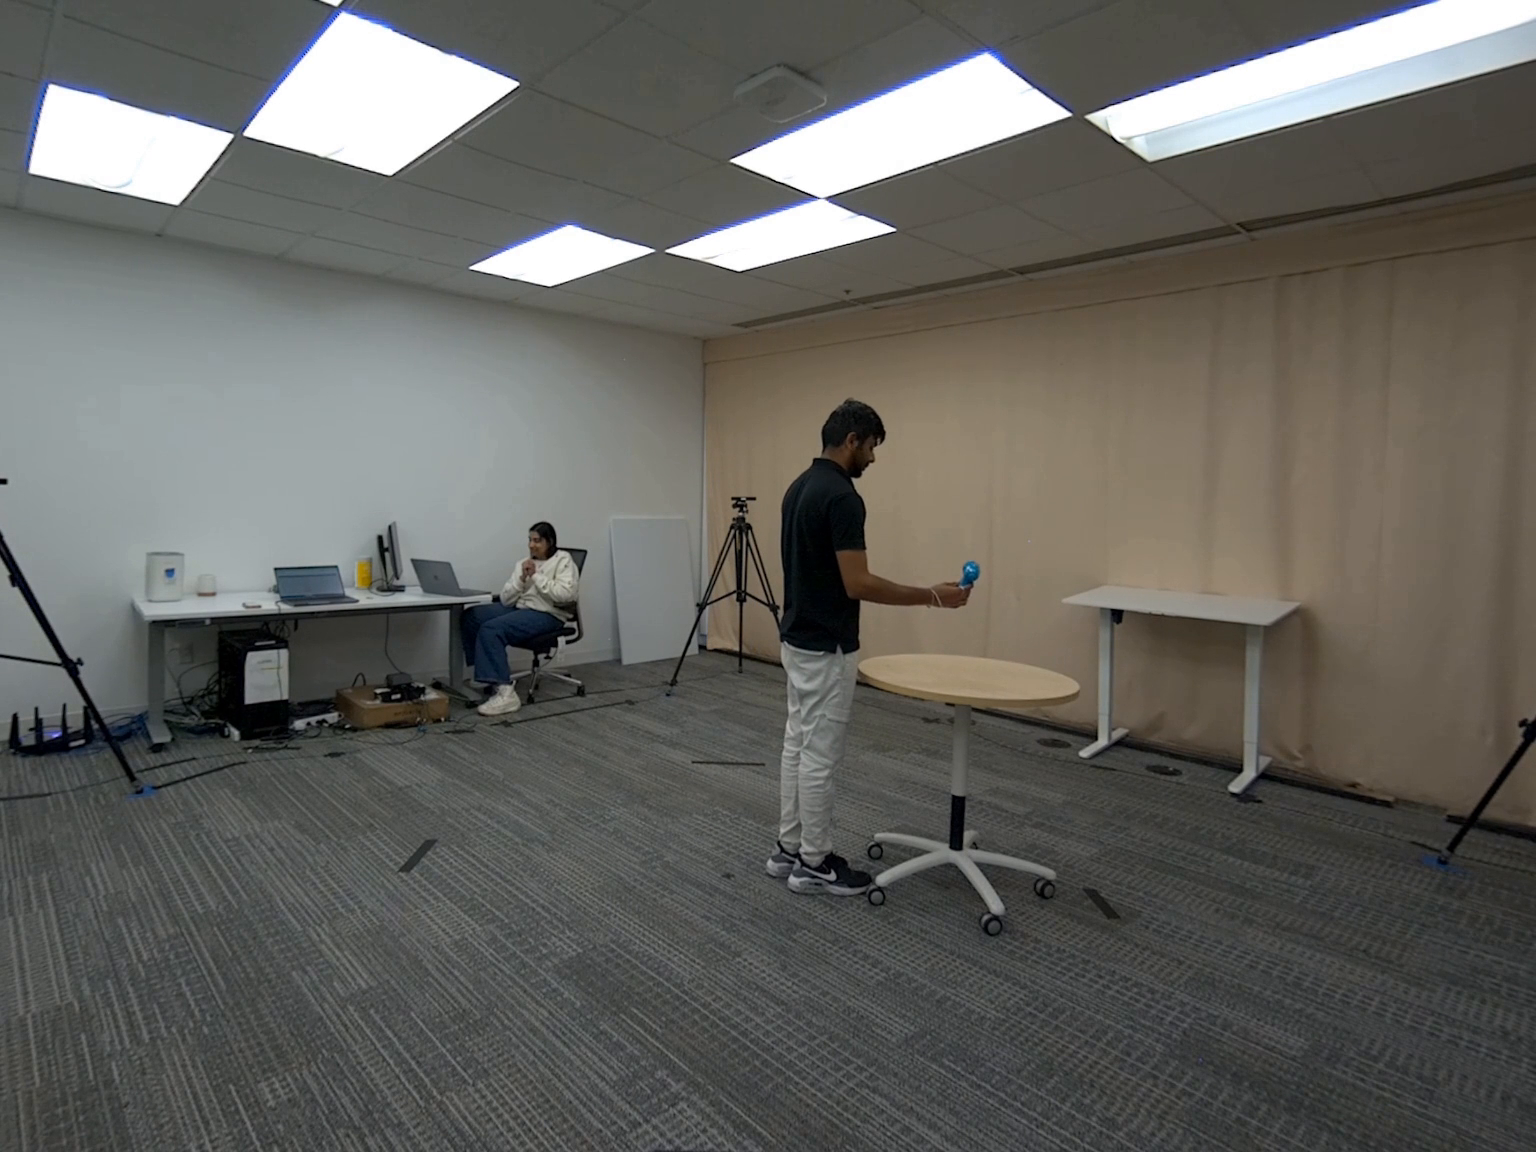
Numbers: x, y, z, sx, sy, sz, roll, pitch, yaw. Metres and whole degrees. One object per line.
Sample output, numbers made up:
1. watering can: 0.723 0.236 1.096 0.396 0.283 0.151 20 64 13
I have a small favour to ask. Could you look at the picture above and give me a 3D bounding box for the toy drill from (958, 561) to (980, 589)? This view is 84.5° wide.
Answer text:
1. toy drill: 0.680 0.007 2.928 0.061 0.145 0.170 27 24 4
